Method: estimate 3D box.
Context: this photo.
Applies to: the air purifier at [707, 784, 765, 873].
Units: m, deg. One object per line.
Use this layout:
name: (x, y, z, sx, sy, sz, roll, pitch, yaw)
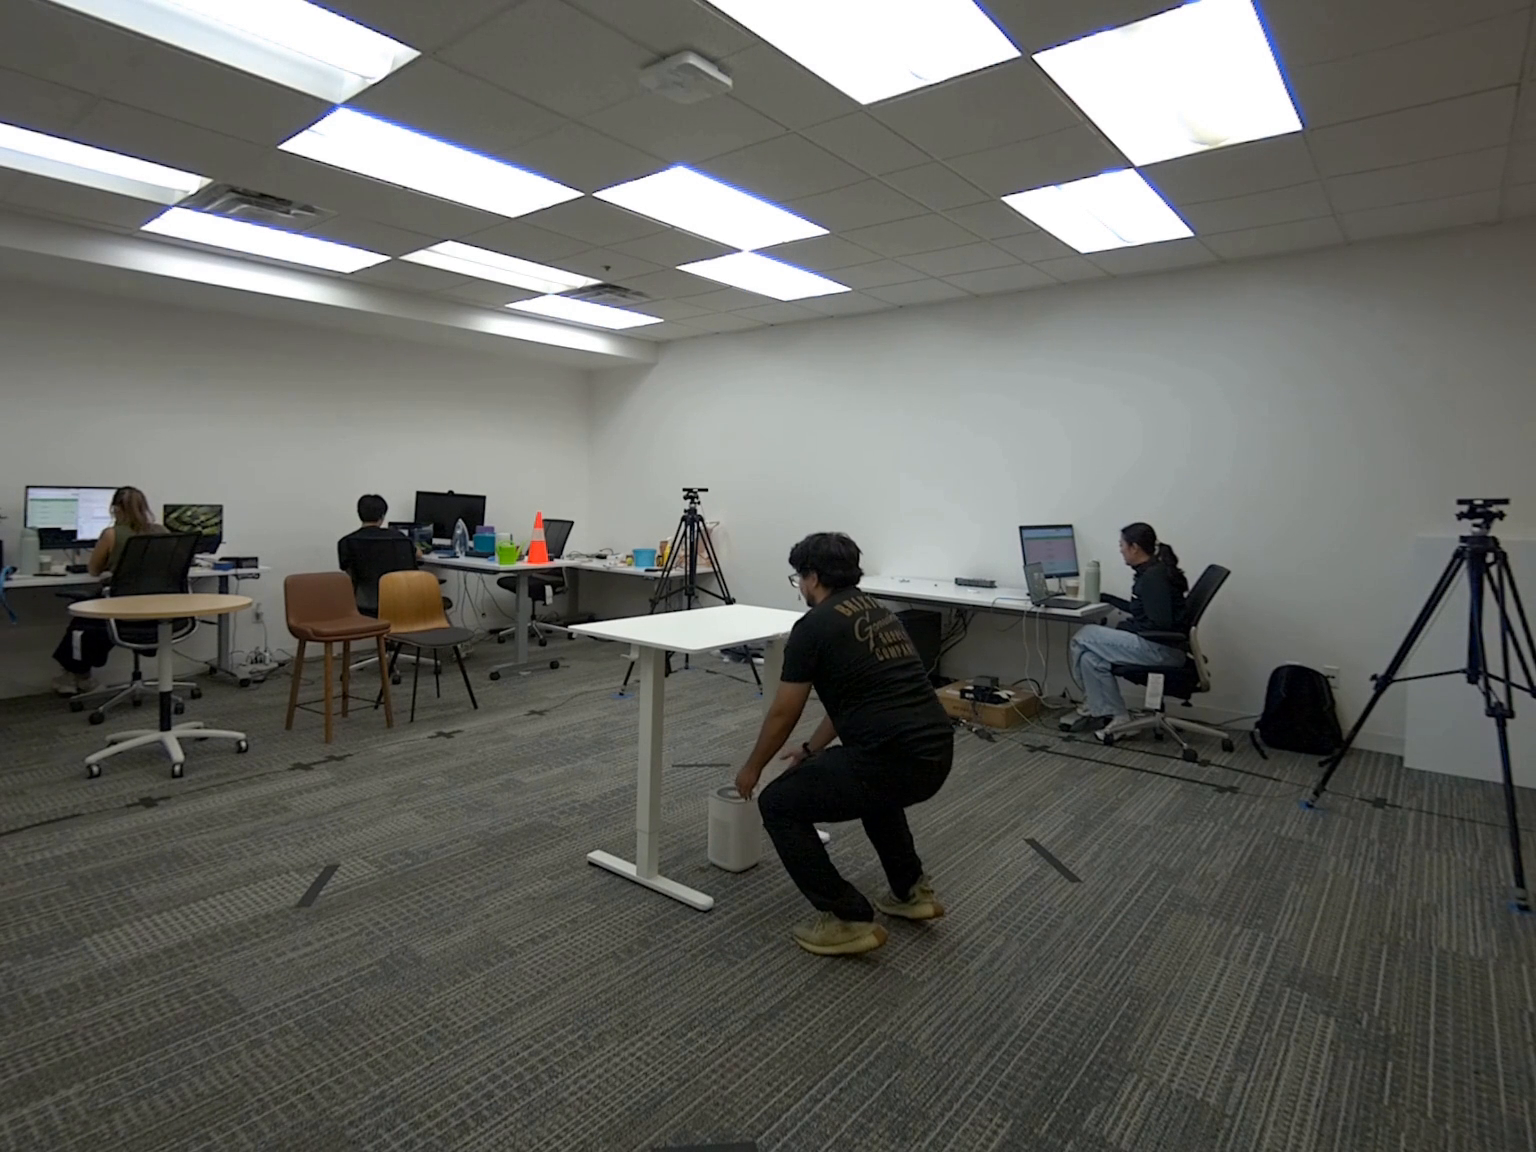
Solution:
air purifier: (-0.134, 0.928, 3.156, 0.177, 0.265, 0.166, 3, 4, 39)
